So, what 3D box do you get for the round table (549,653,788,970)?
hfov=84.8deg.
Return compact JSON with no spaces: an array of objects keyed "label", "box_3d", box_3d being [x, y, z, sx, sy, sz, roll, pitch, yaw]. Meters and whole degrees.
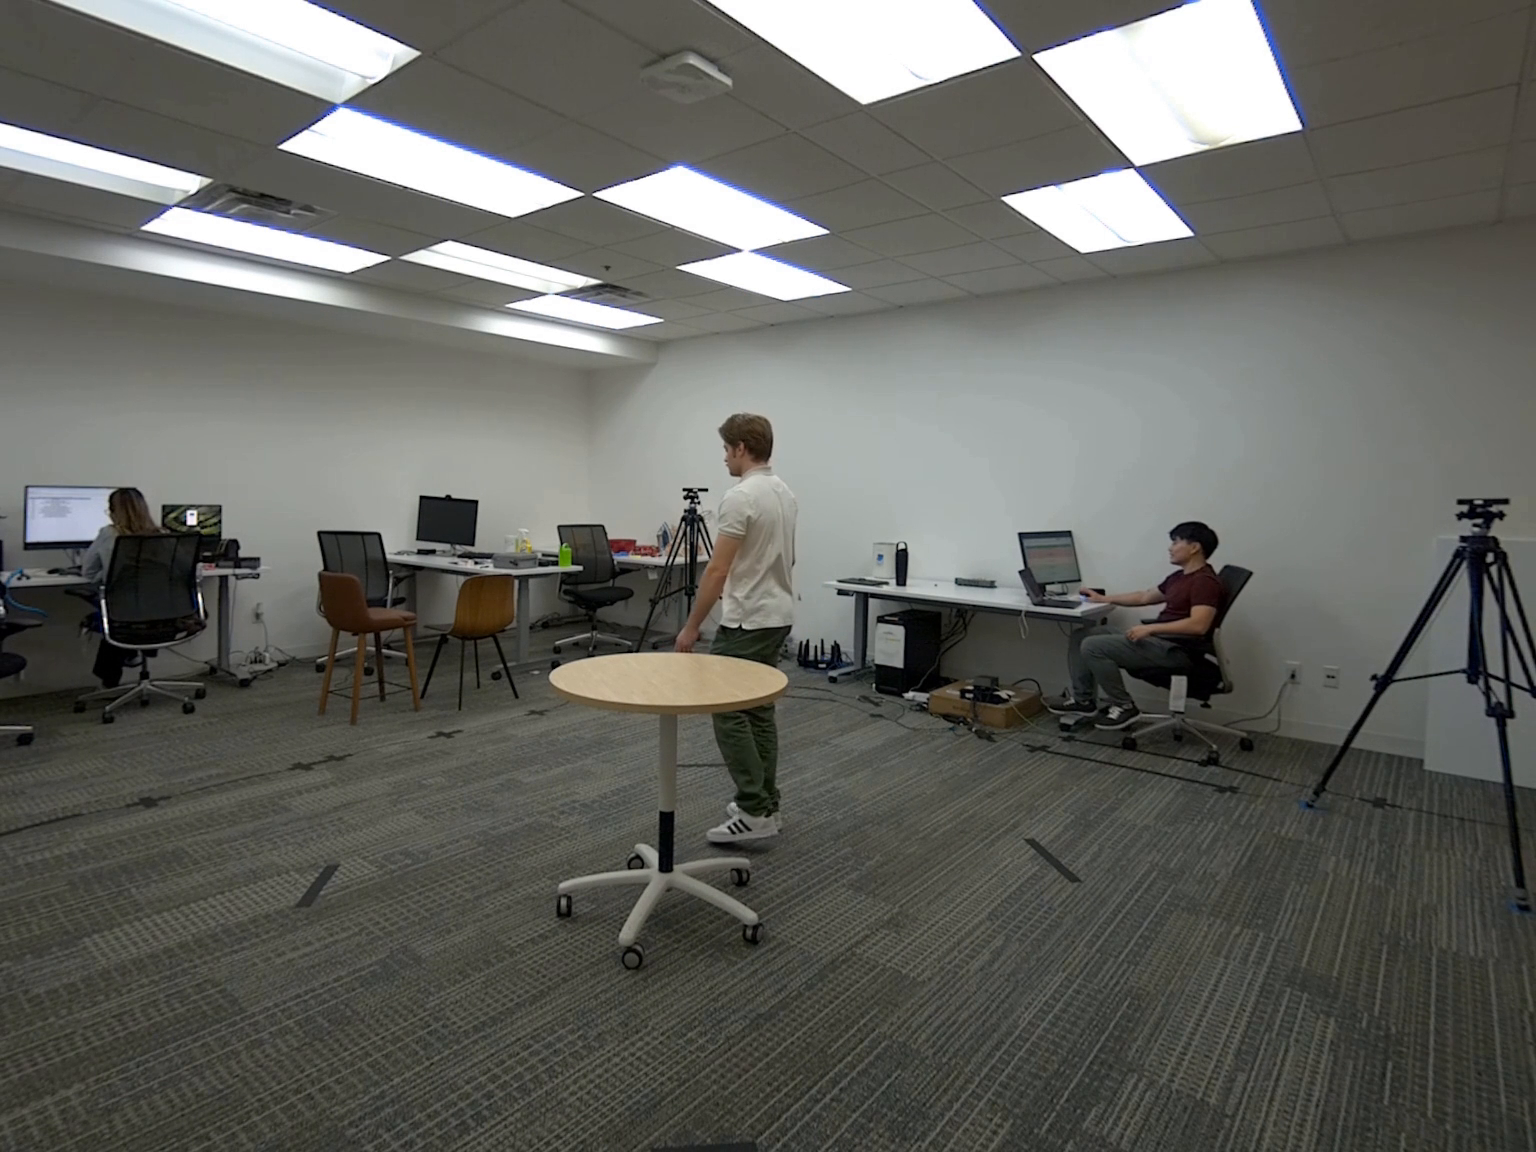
[{"label":"round table","box_3d":[-0.341,0.712,2.766,0.763,0.792,0.767,1,4,-2]}]
